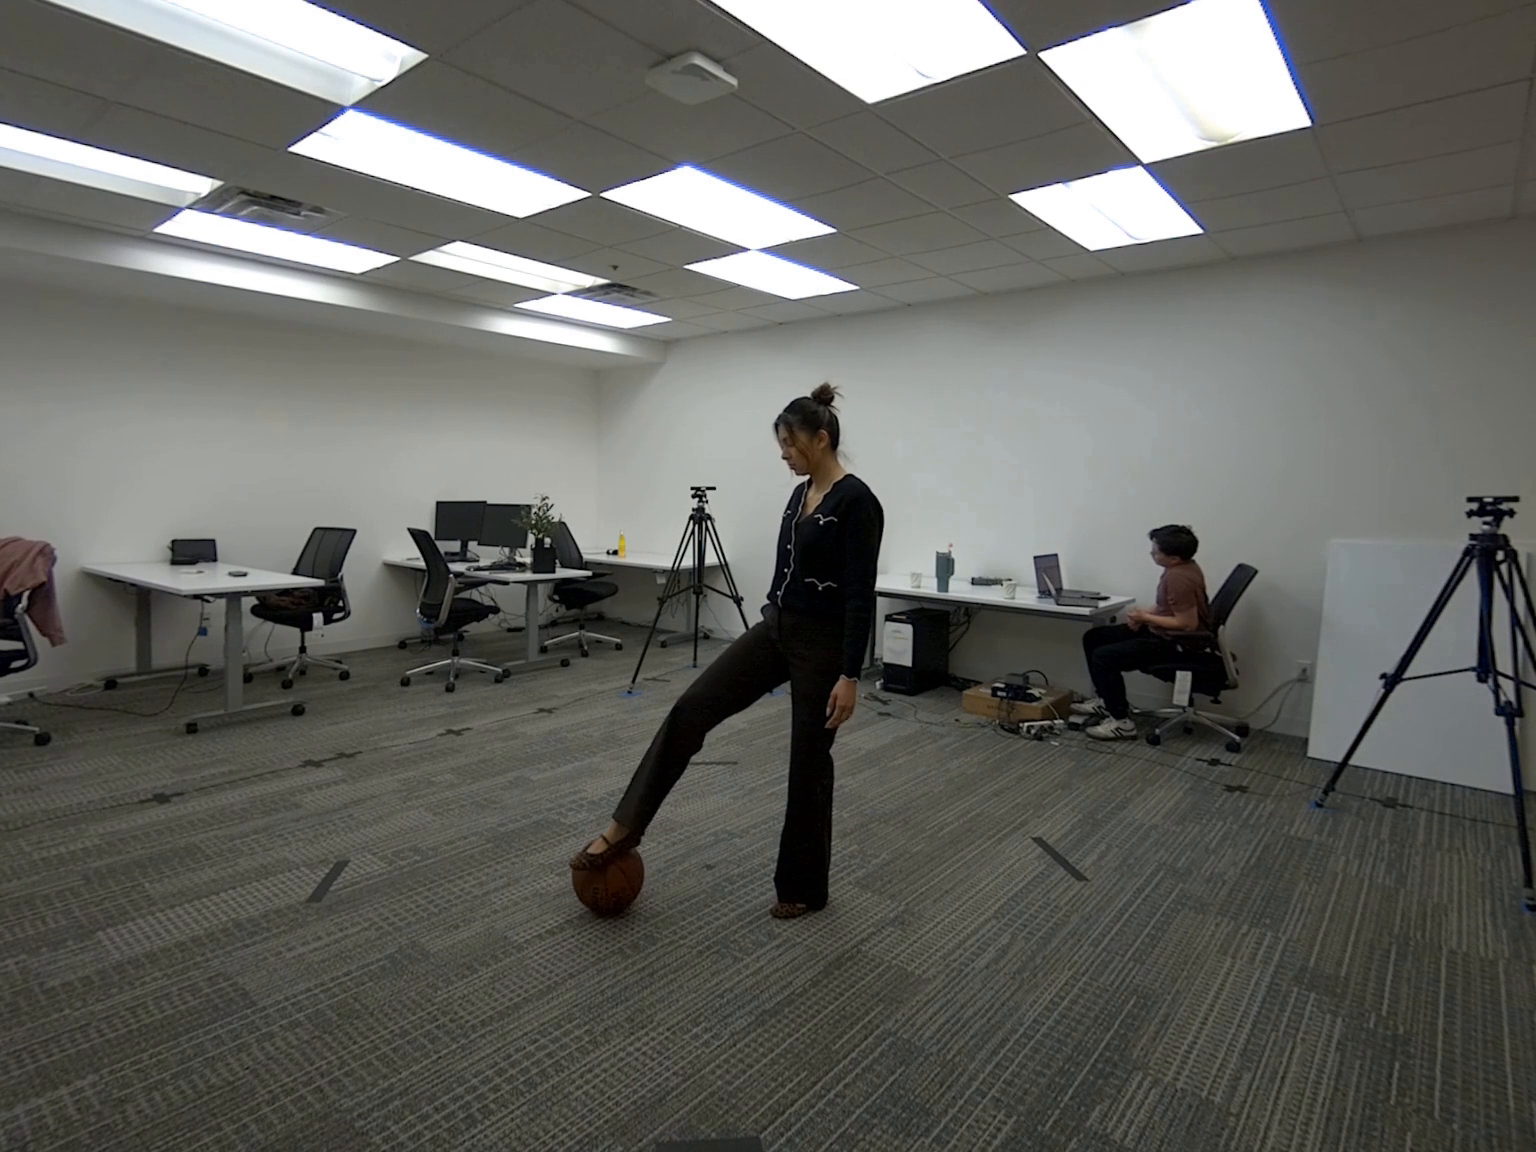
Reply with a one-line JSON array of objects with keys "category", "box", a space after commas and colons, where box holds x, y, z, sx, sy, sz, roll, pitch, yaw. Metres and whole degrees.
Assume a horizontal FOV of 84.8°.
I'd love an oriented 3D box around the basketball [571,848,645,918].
[{"category": "basketball", "box": [-0.528, 0.973, 2.789, 0.235, 0.235, 0.237, 1, 4, -2]}]
